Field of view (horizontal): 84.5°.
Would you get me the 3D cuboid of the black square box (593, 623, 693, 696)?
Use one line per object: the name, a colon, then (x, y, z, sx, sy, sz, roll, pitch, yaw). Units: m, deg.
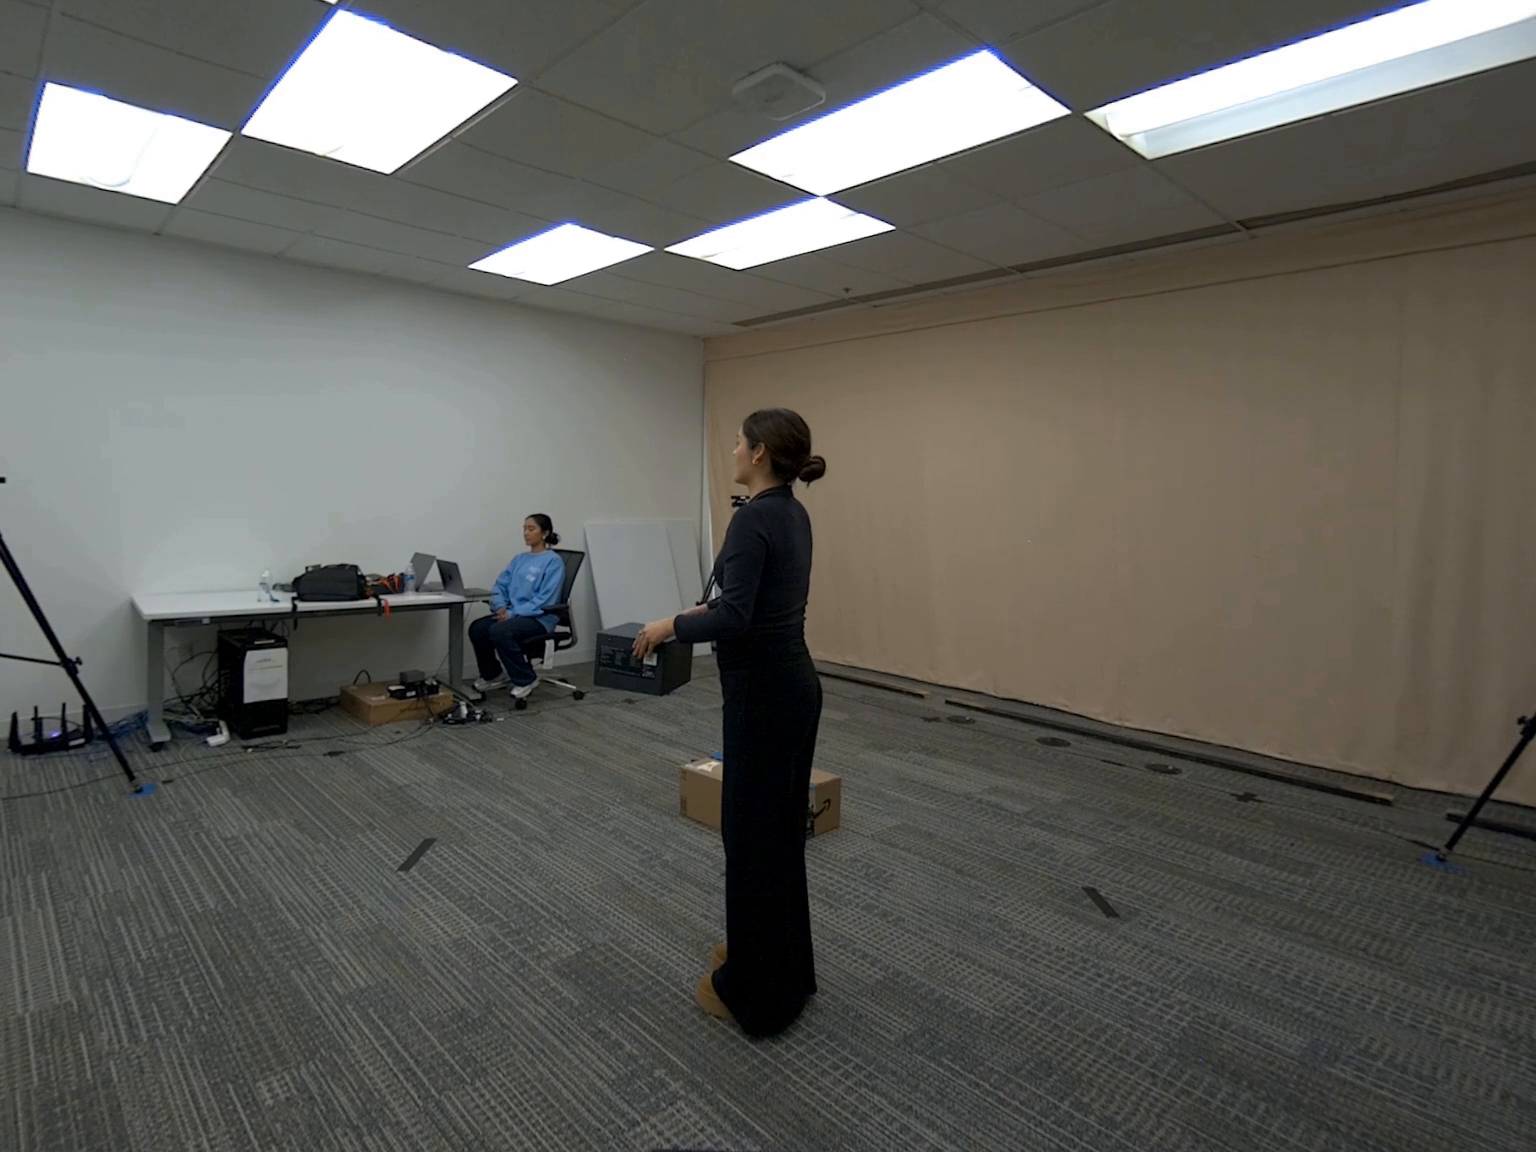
black square box: (-0.359, 0.243, 2.480, 0.220, 0.155, 0.225, 4, 4, 17)
